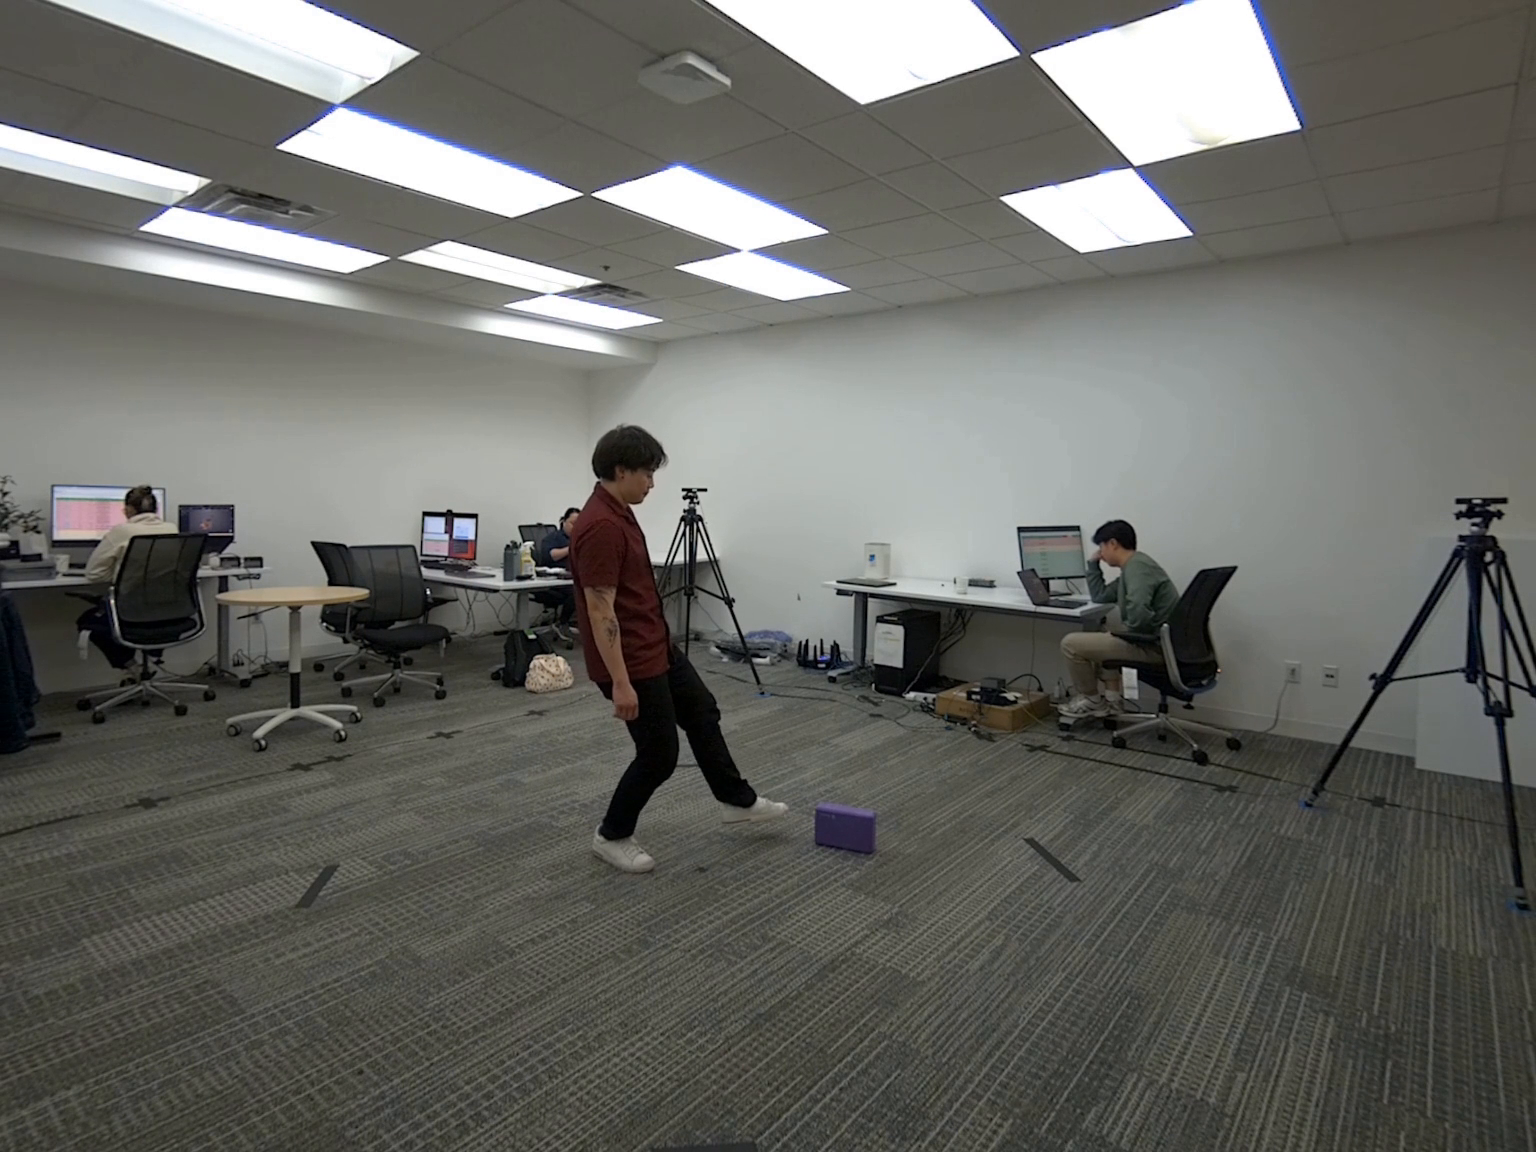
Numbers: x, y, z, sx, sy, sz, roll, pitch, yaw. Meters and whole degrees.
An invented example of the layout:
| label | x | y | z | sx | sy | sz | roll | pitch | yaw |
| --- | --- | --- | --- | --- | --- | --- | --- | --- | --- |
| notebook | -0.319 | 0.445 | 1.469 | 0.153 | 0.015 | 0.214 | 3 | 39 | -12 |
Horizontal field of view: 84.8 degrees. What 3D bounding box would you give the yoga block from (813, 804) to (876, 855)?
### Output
| label | x | y | z | sx | sy | sz | roll | pitch | yaw |
| --- | --- | --- | --- | --- | --- | --- | --- | --- | --- |
| yoga block | 0.295 | 0.984 | 3.331 | 0.234 | 0.148 | 0.075 | 4 | 4 | 20 |
